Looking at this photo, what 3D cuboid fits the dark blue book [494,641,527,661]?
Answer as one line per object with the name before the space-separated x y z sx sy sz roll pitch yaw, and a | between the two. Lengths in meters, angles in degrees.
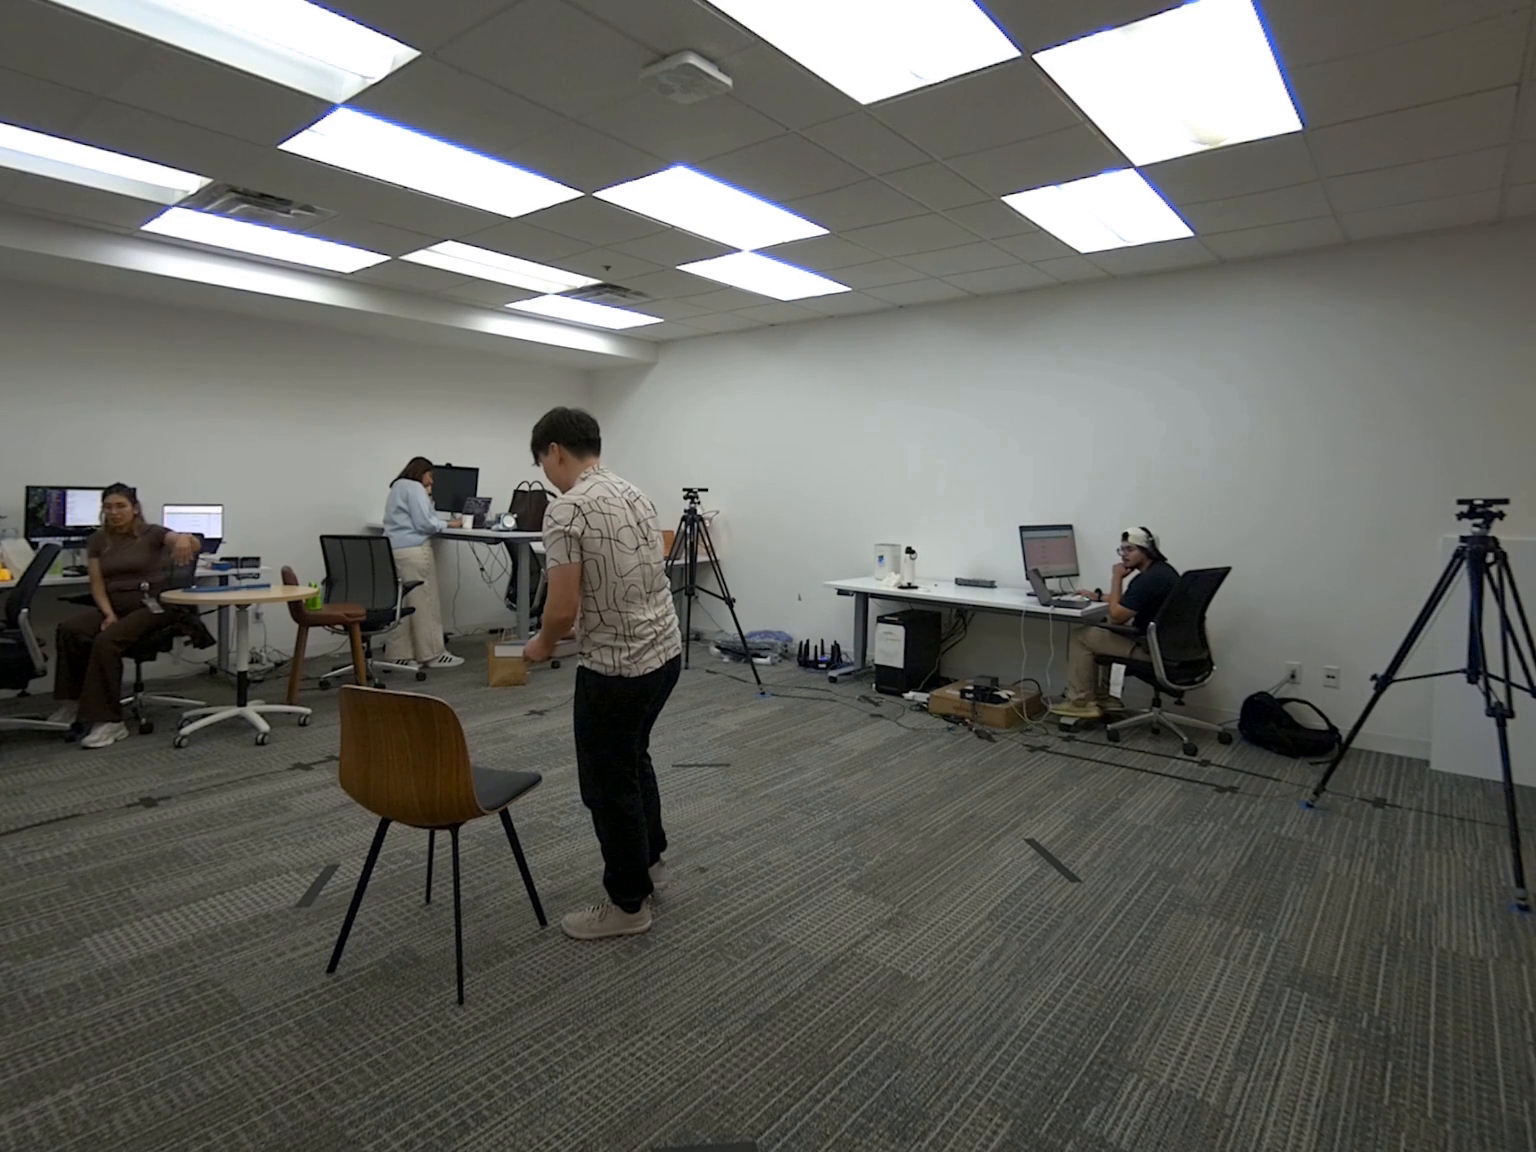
dark blue book | -0.755 0.234 2.746 0.251 0.045 0.160 0 1 22
